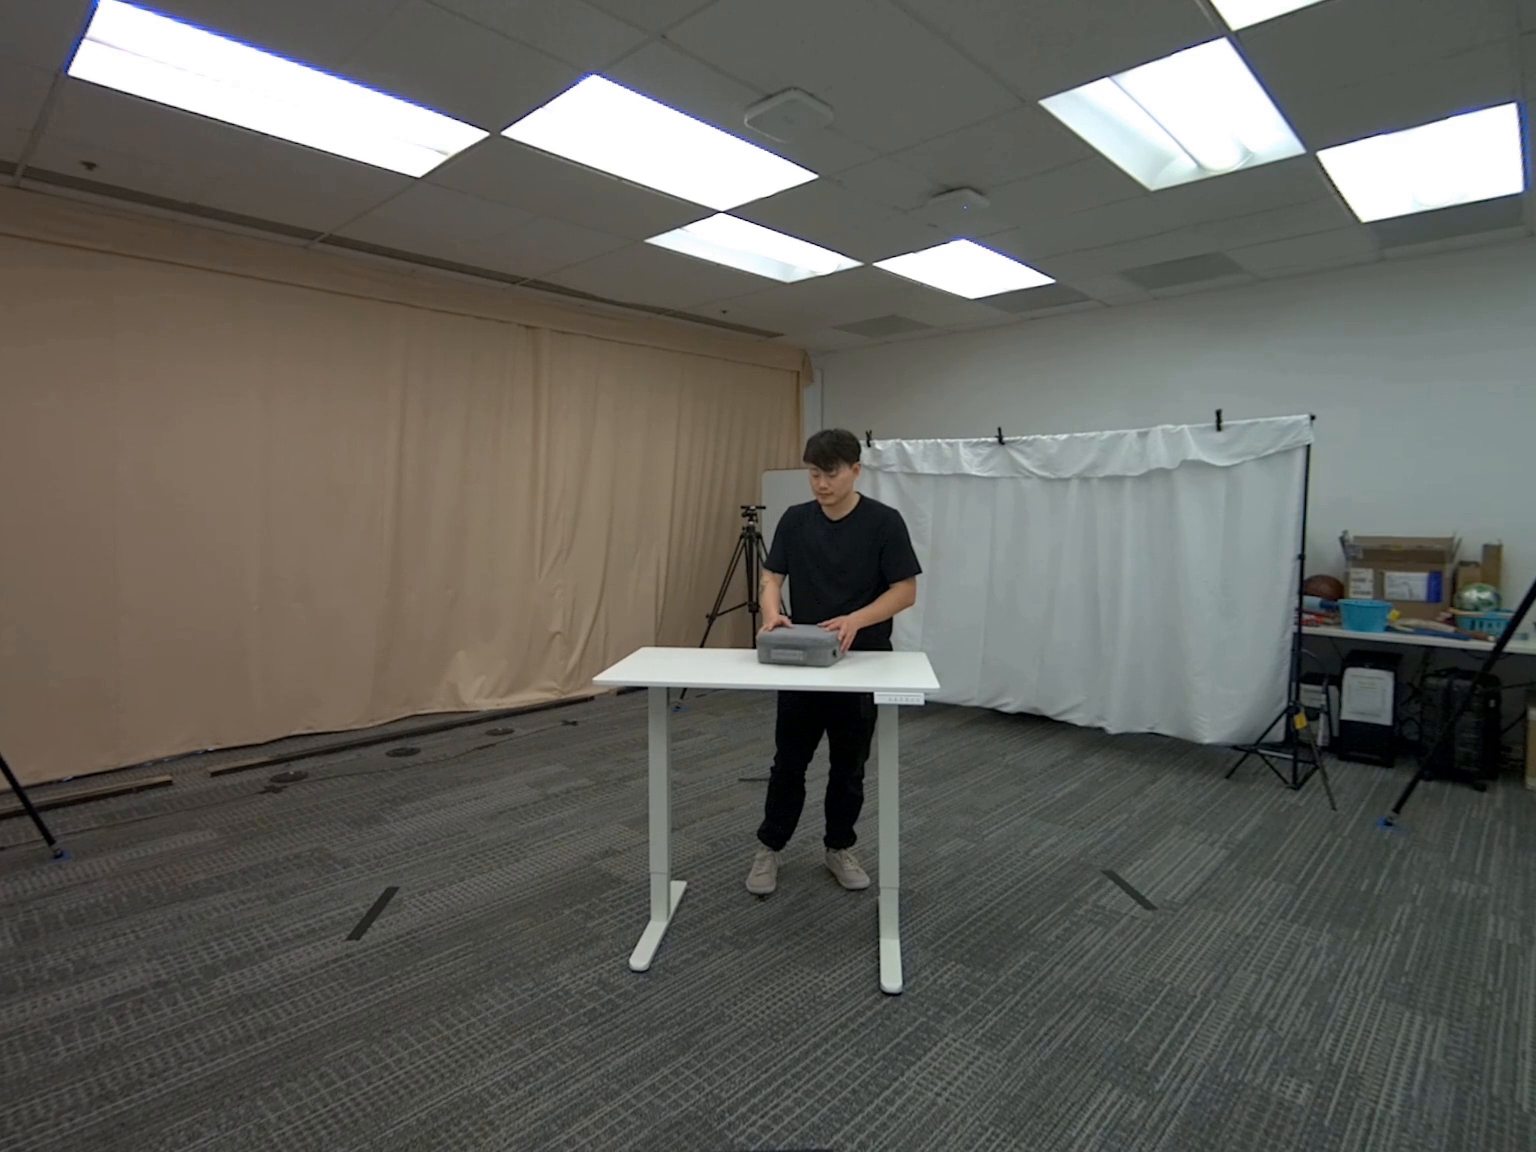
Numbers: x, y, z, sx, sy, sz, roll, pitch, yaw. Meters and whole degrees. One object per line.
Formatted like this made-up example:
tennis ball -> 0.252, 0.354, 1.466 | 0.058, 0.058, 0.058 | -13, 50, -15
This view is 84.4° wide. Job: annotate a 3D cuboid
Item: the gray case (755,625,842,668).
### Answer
gray case -> 0.117, 0.230, 2.777 | 0.263, 0.104, 0.255 | 3, 5, 23
